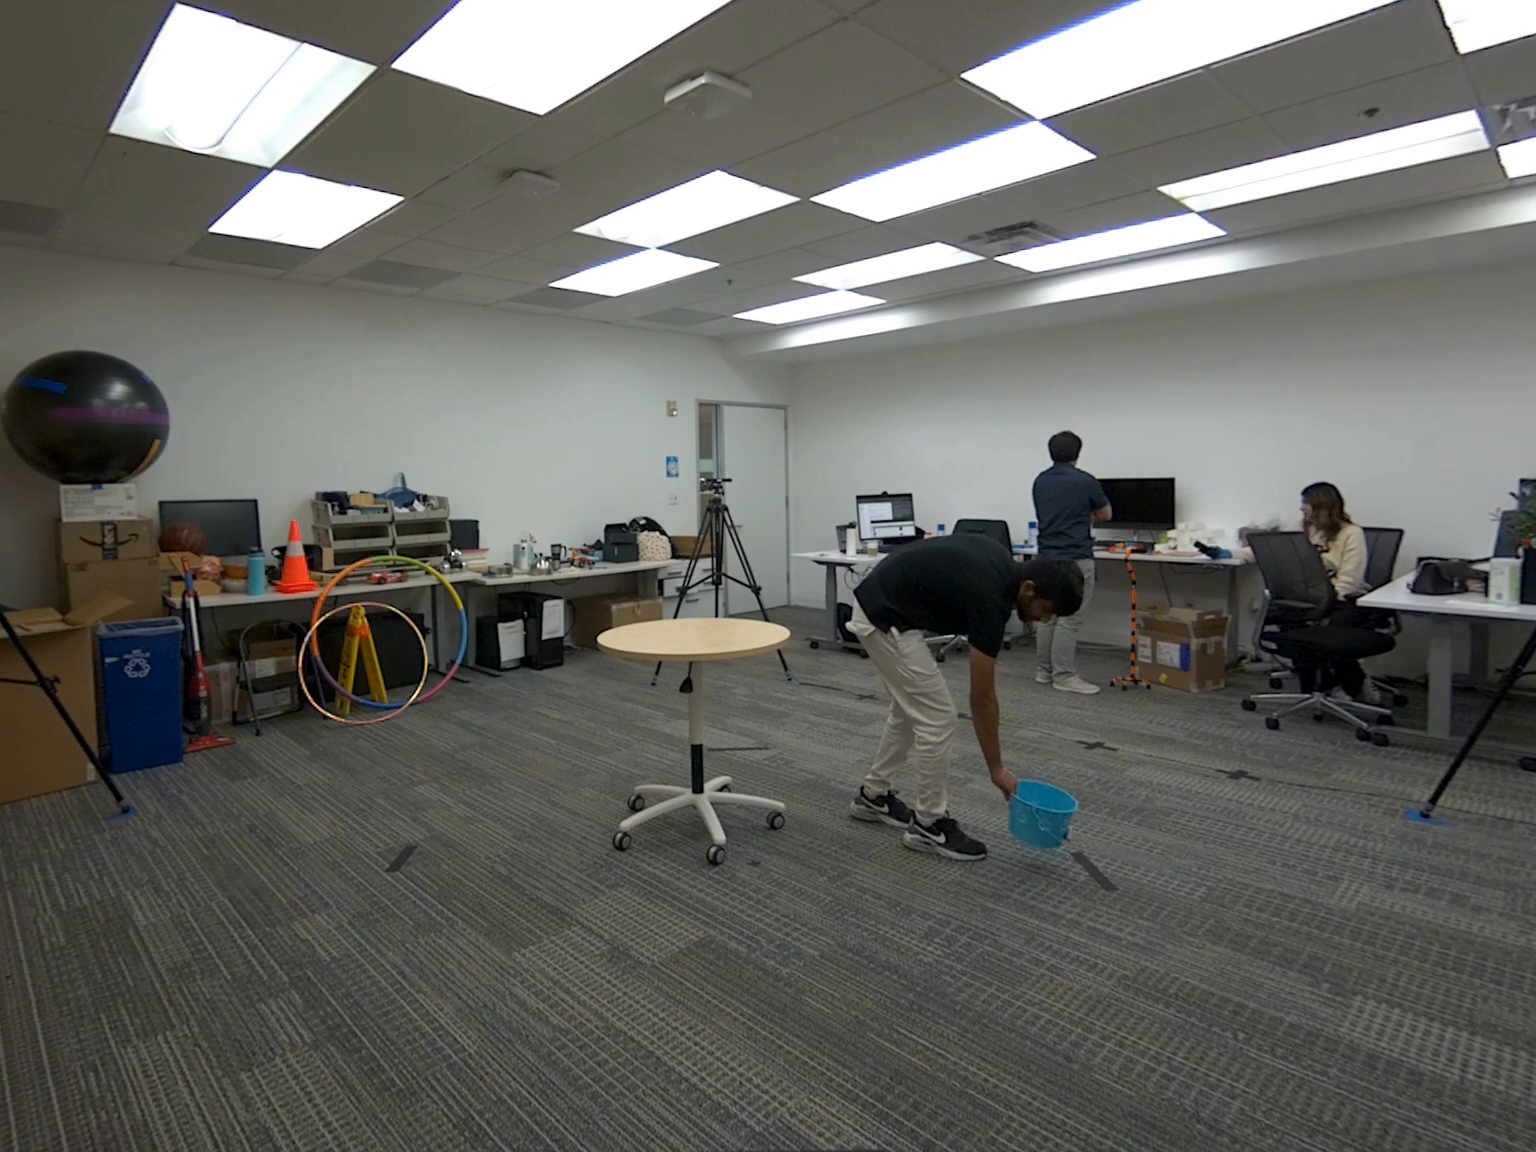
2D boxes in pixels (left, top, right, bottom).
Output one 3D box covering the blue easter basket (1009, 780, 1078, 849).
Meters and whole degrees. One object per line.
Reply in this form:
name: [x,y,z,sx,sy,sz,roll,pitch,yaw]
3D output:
blue easter basket: [0.966,0.835,3.003,0.243,0.154,0.246,5,11,-3]
